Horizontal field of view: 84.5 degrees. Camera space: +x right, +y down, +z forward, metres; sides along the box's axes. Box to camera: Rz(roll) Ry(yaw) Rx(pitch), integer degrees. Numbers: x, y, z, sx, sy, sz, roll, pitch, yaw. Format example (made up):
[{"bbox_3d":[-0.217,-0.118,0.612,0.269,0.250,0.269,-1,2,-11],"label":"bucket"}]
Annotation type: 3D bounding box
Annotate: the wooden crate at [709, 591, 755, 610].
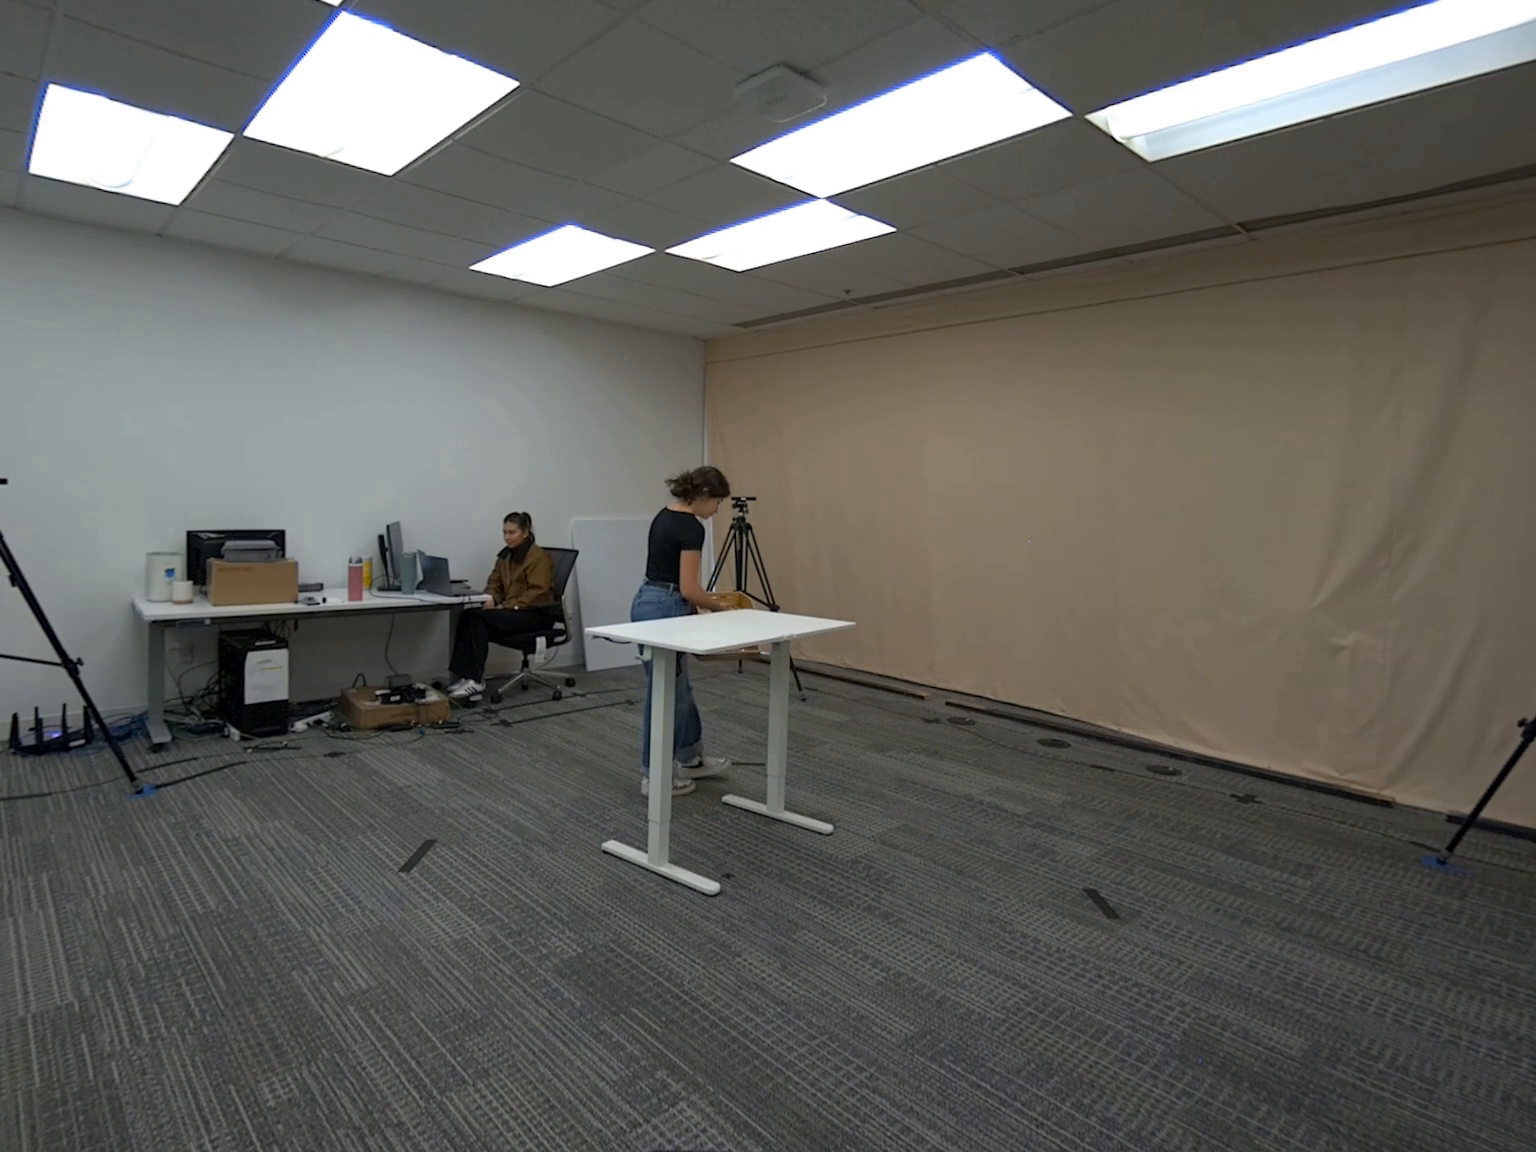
[{"bbox_3d":[-0.230,0.245,4.095,0.319,0.271,0.310,0,13,-25],"label":"wooden crate"}]
